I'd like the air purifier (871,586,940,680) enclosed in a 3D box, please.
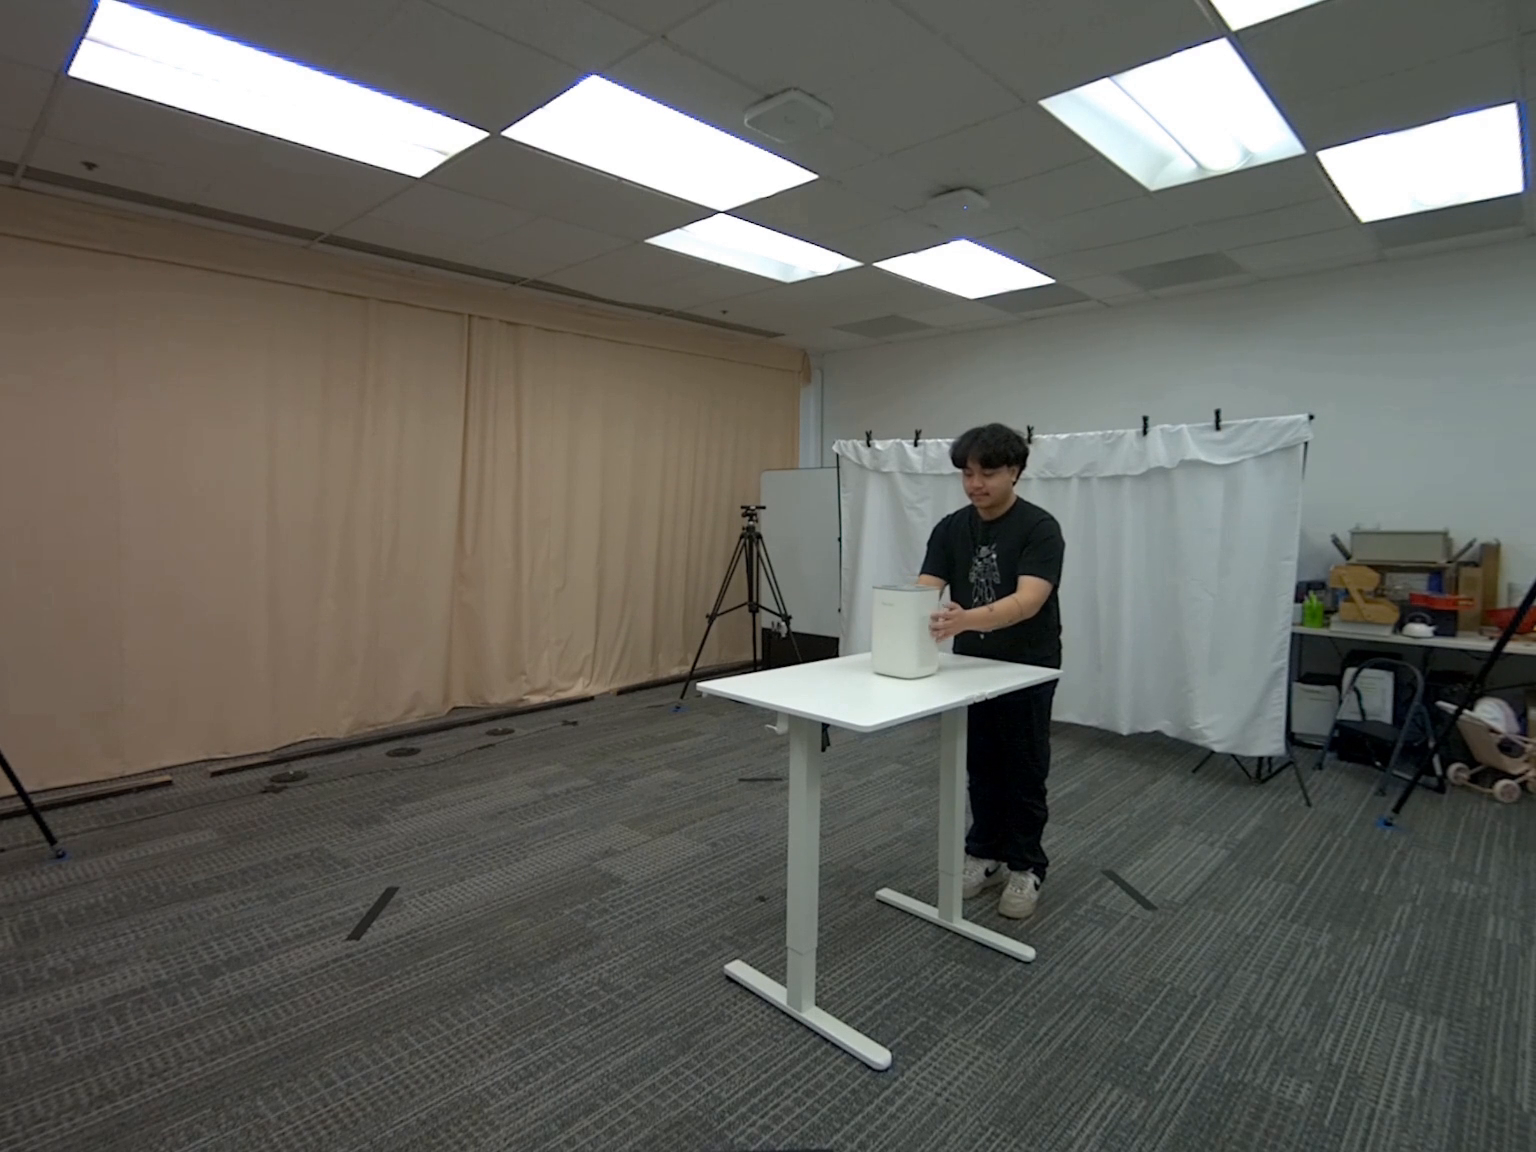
[{"bbox_3d":[0.411,0.165,2.537,0.177,0.265,0.166,5,6,44],"label":"air purifier"}]
